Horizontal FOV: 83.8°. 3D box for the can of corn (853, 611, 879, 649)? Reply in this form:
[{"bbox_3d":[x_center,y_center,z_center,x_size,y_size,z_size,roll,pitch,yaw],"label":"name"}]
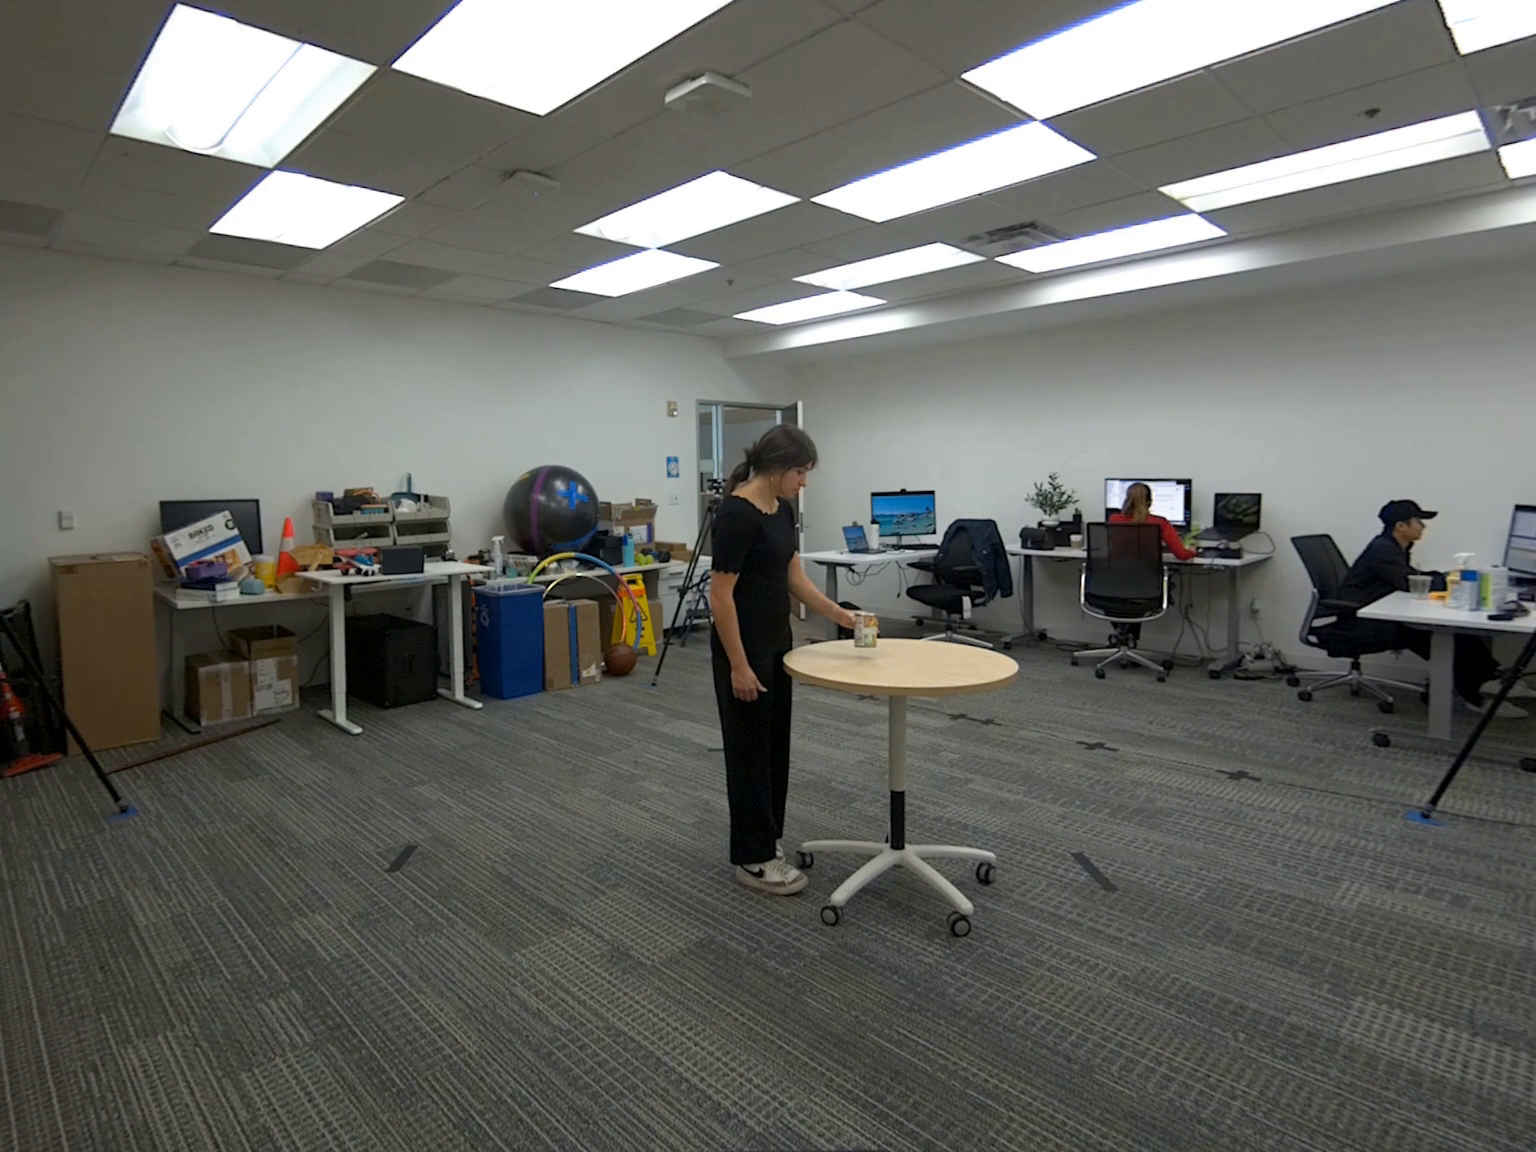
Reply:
[{"bbox_3d":[0.315,0.189,2.882,0.074,0.111,0.074,-1,-2,-2],"label":"can of corn"}]
